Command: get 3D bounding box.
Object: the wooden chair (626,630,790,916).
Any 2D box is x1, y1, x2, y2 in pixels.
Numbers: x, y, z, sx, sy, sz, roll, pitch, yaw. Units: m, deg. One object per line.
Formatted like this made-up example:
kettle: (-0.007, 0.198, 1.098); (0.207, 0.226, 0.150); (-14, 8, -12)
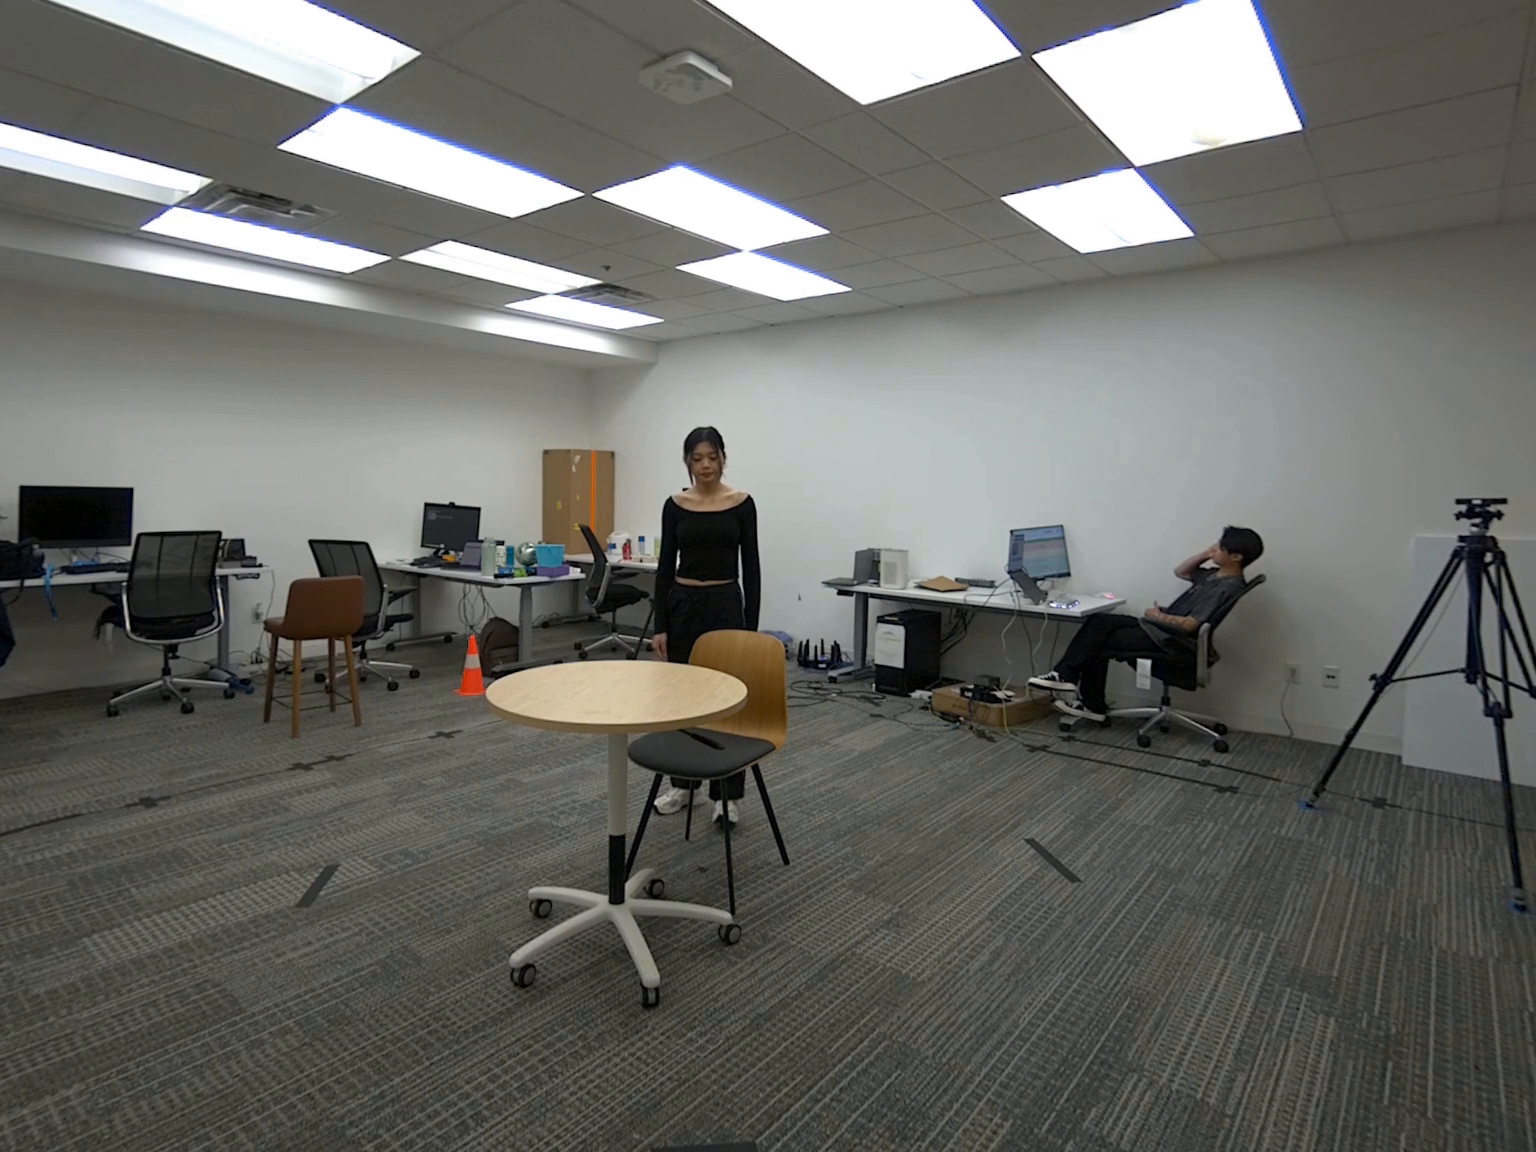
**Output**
wooden chair: (-0.218, 0.645, 3.044); (0.491, 0.878, 0.508); (3, -1, 27)
